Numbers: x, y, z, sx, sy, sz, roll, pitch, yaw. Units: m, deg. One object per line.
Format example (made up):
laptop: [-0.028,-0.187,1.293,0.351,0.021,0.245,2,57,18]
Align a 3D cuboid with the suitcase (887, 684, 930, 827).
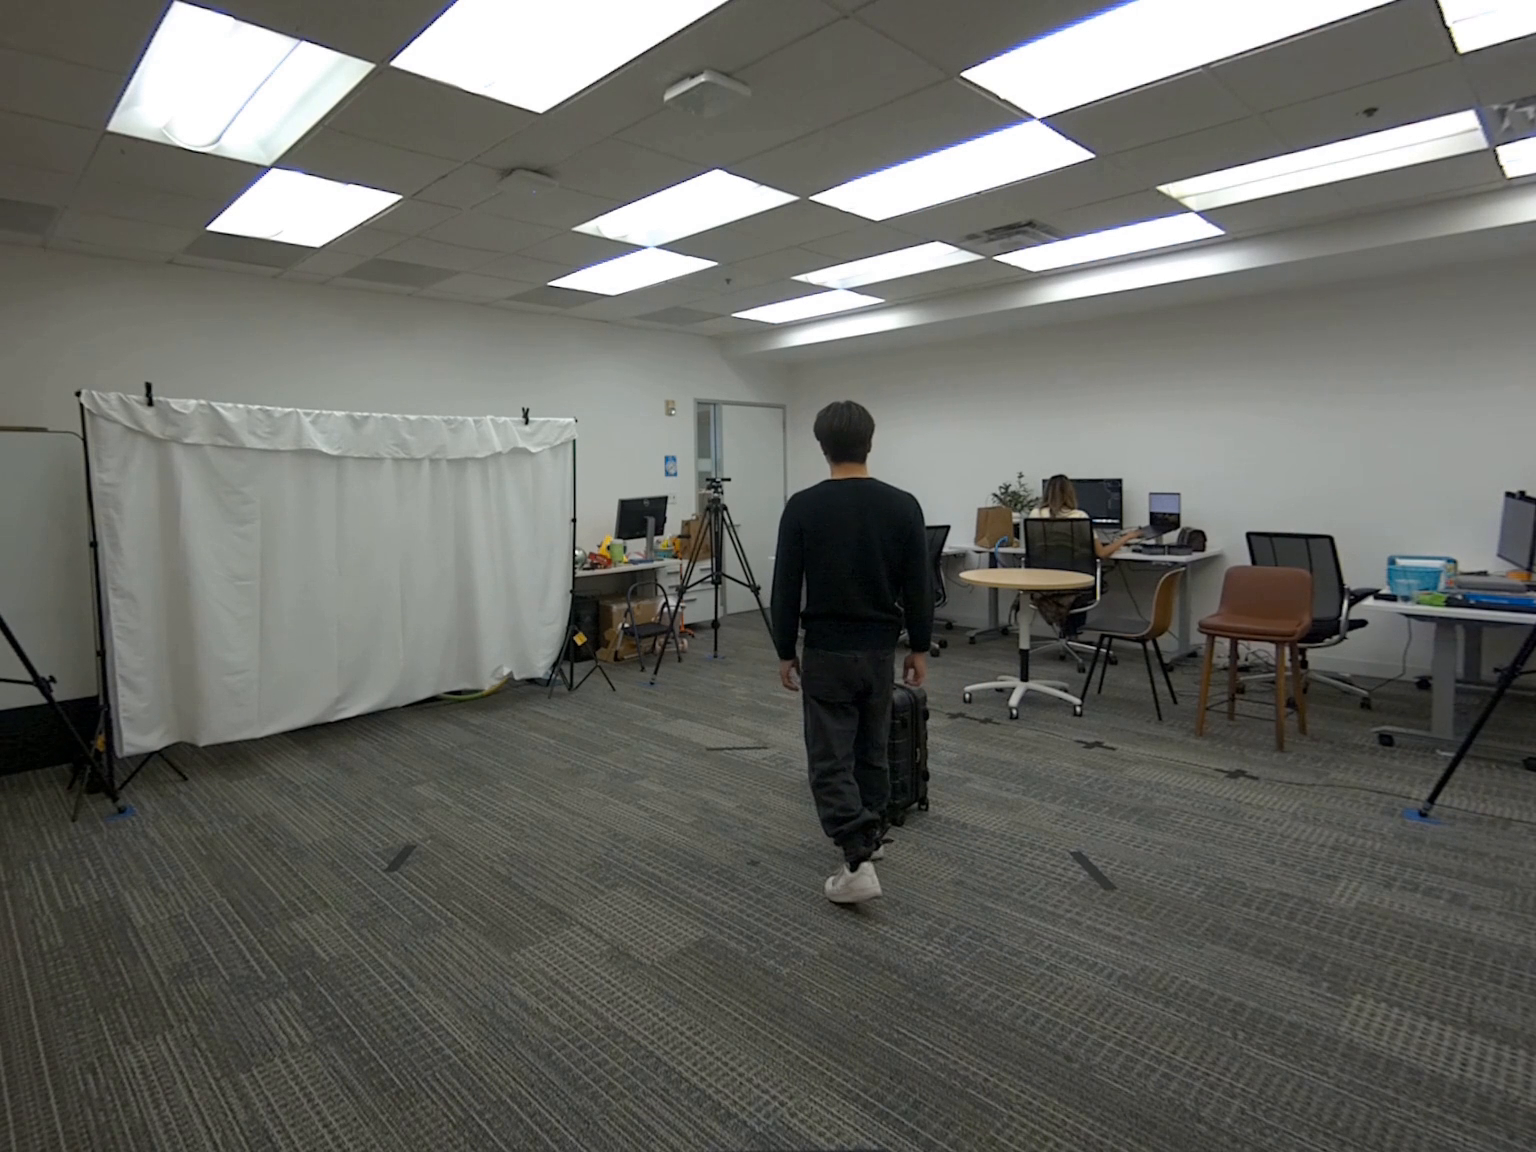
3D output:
suitcase: [0.474,0.706,3.577,0.387,0.547,0.242,4,6,45]
